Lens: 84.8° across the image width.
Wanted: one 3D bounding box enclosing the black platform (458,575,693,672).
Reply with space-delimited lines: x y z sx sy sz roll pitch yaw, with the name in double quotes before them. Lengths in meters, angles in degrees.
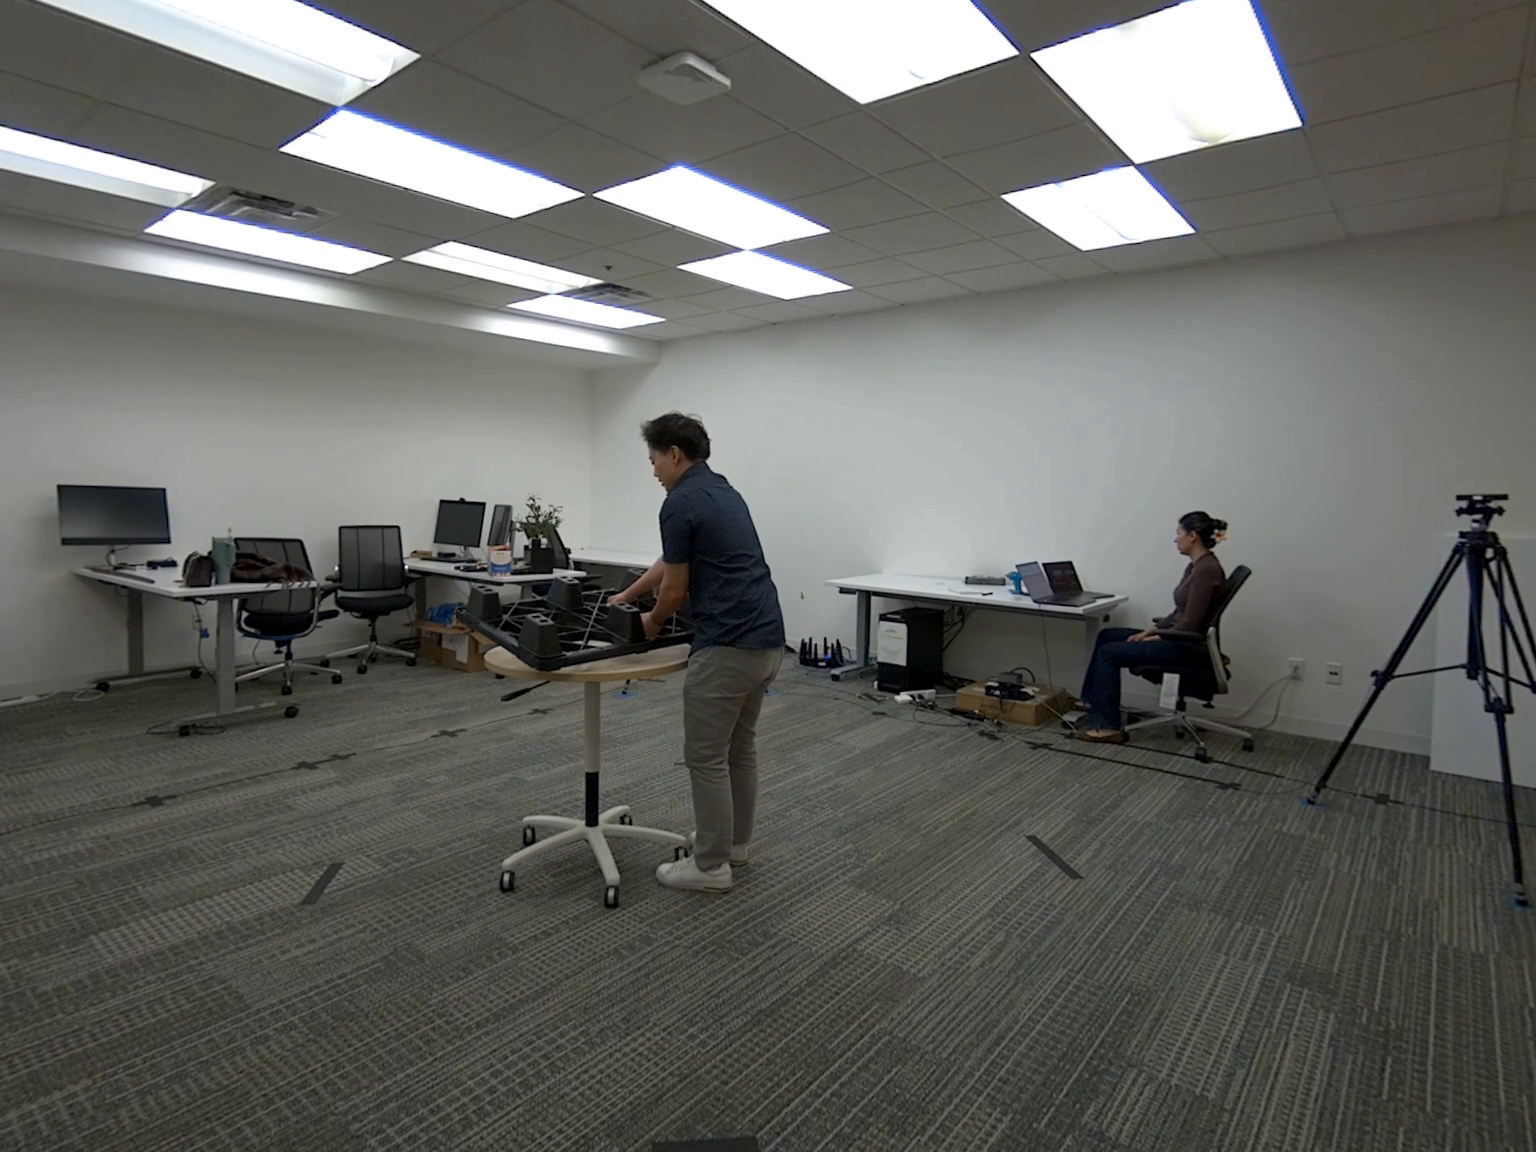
"black platform" -0.647 0.123 3.107 0.783 0.142 0.629 -8 20 -45
